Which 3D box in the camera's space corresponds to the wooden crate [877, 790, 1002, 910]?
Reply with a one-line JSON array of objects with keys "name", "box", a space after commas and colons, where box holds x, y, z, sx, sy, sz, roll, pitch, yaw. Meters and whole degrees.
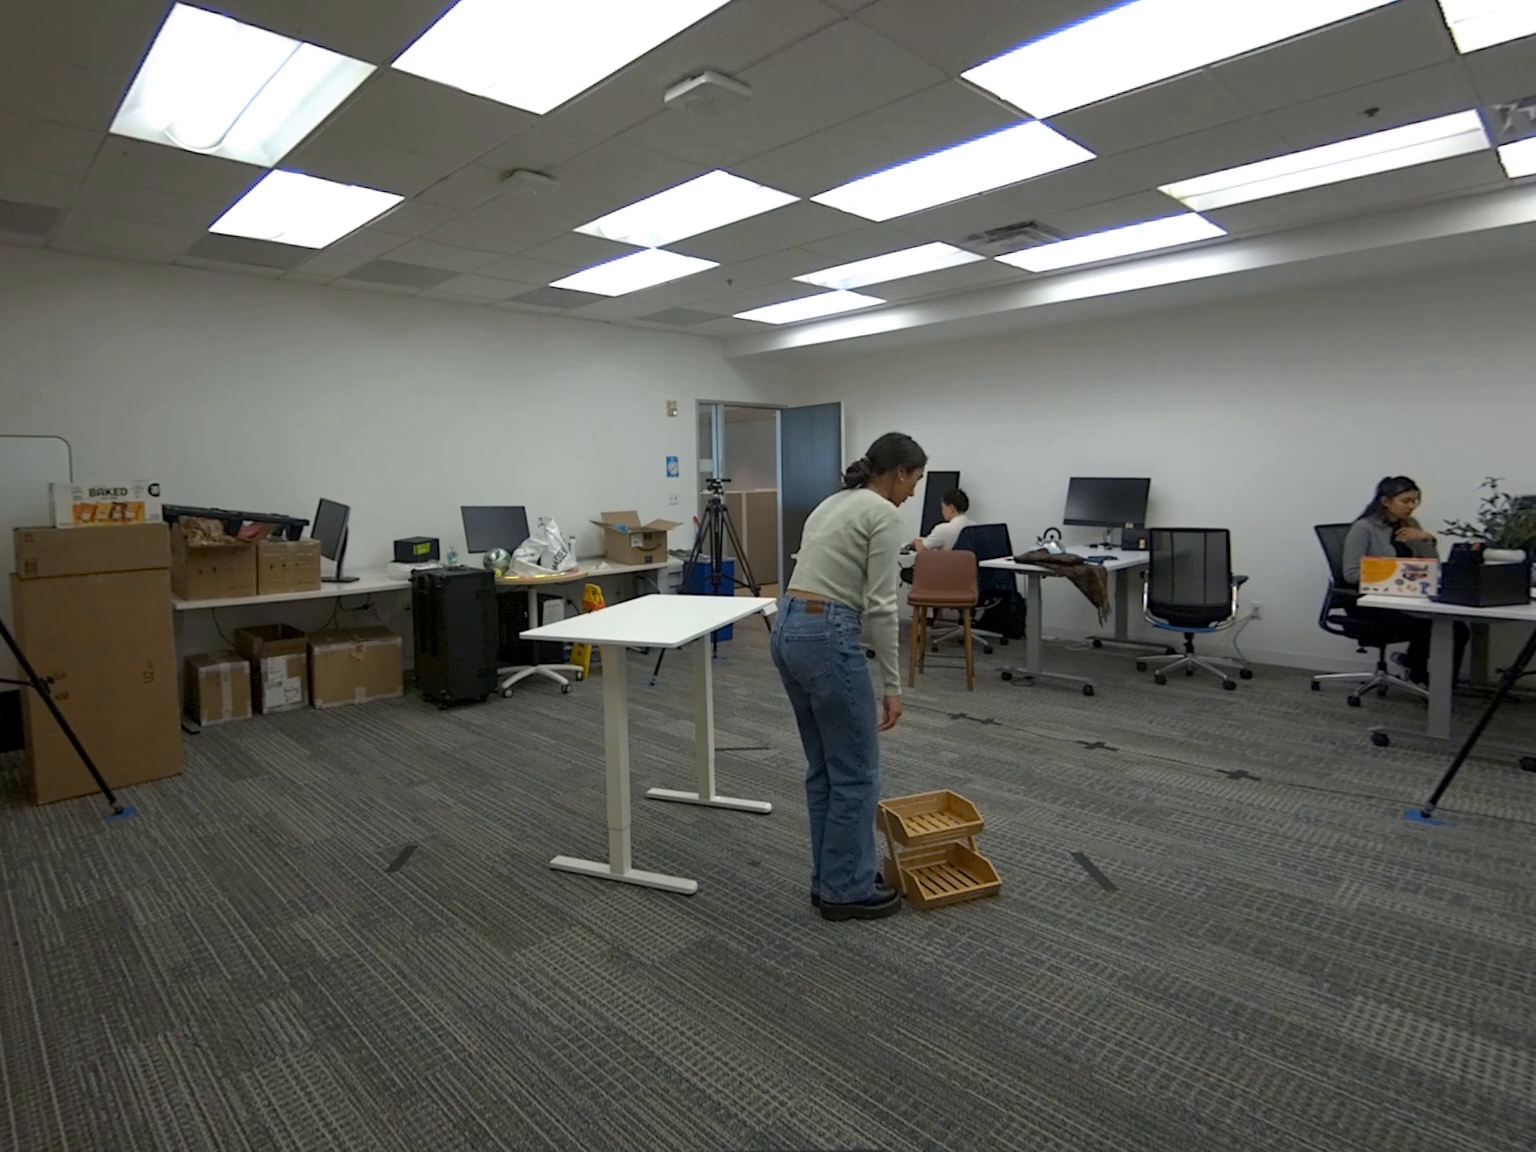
[{"name": "wooden crate", "box": [0.587, 0.924, 2.904, 0.318, 0.272, 0.309, -3, 6, -22]}]
